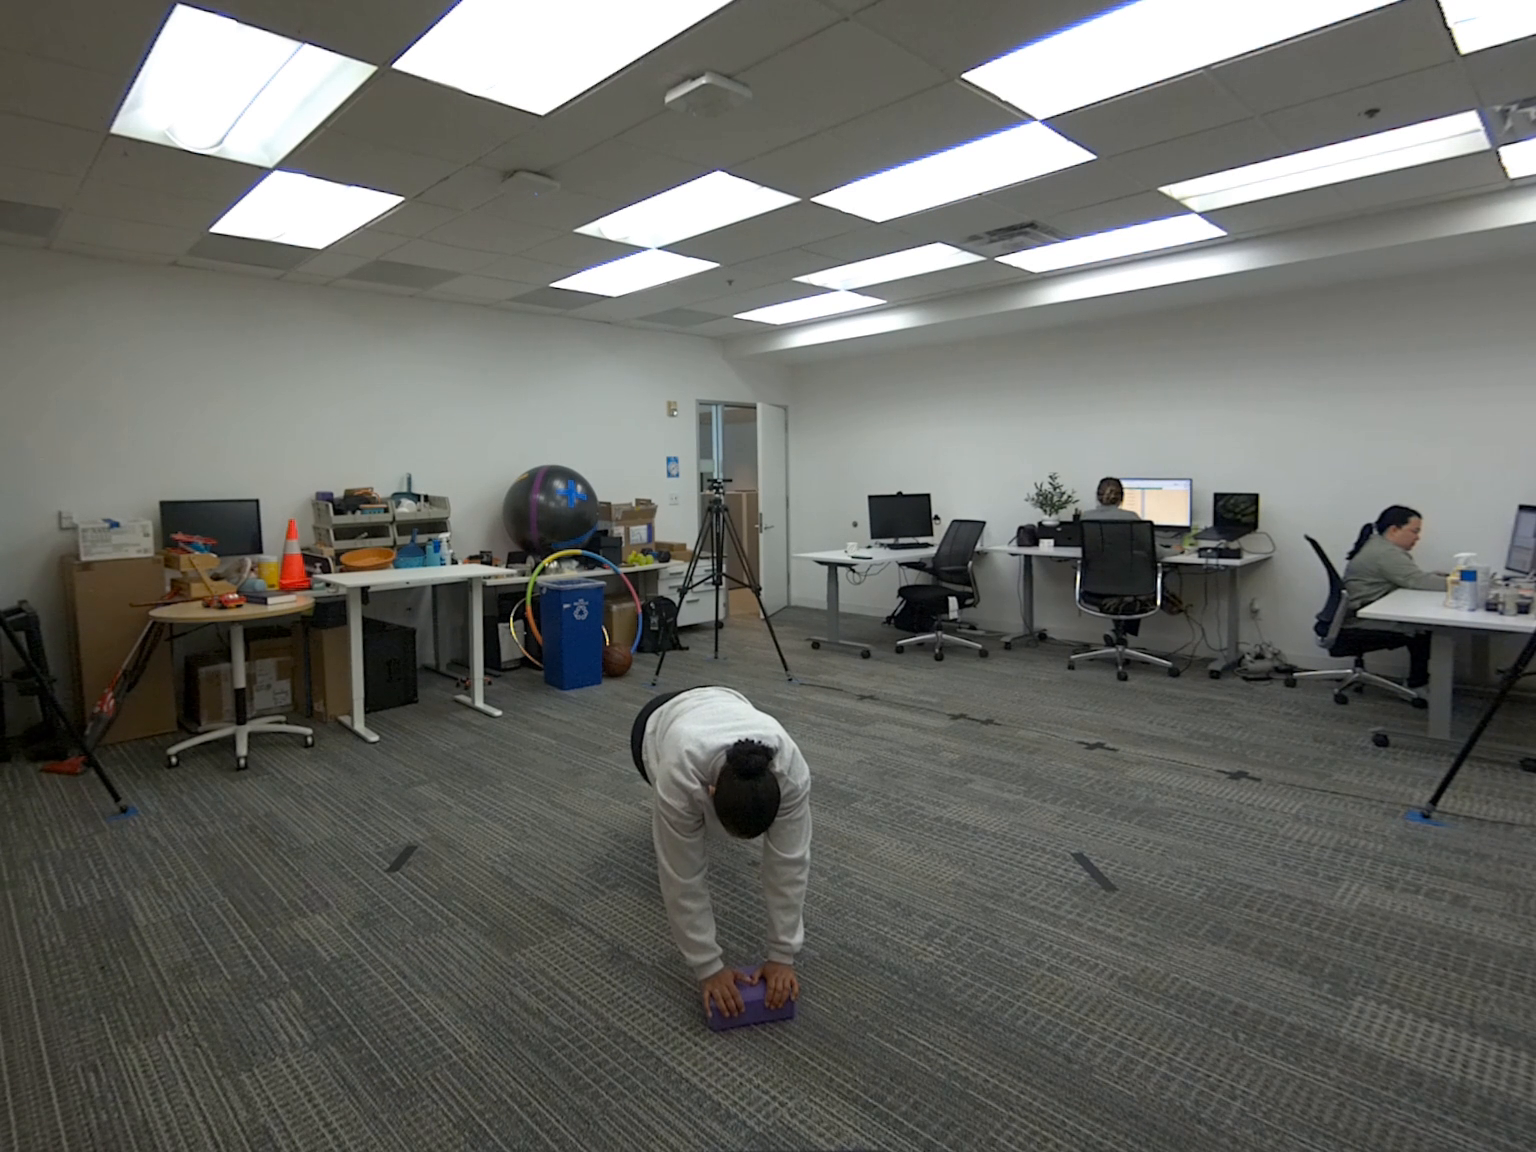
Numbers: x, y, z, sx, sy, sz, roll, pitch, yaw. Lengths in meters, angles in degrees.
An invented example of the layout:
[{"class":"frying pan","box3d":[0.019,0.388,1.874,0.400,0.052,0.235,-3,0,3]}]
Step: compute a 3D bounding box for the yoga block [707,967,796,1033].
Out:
[{"class":"yoga block","box3d":[-0.048,1.112,2.258,0.227,0.076,0.151,-2,5,-13]}]
